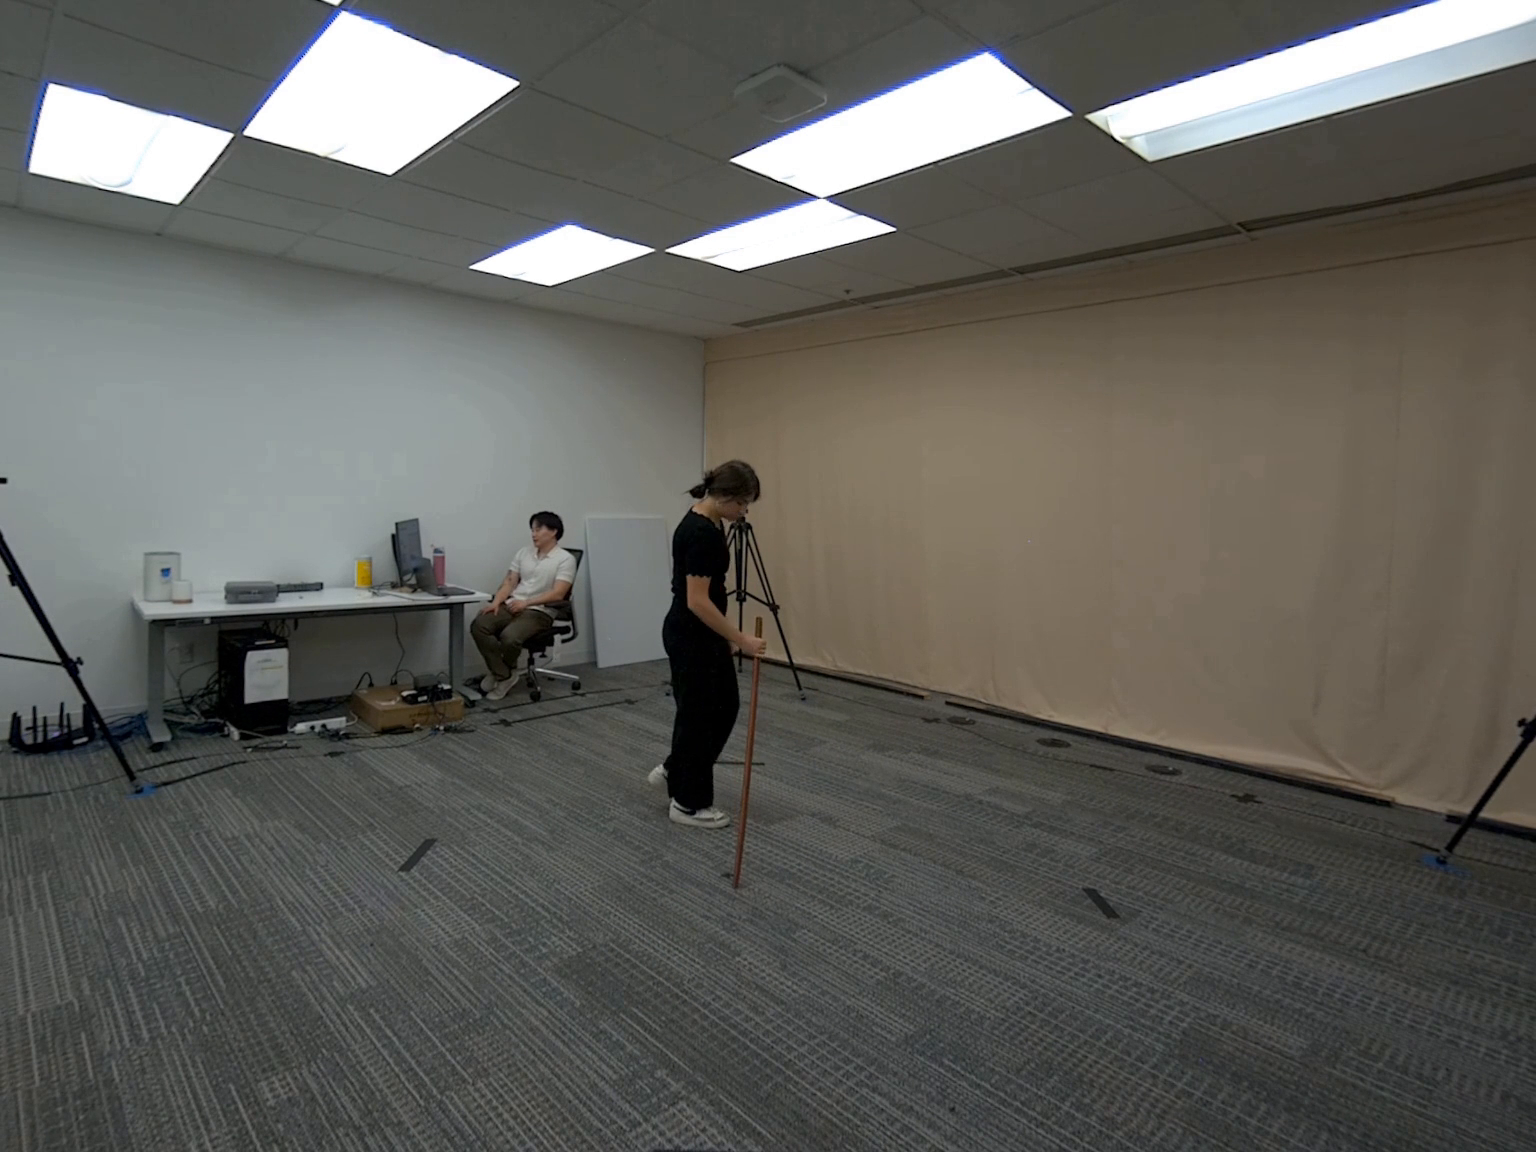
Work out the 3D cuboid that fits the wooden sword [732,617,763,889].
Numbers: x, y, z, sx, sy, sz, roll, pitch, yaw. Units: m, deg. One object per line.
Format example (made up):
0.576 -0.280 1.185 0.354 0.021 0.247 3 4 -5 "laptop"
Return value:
-0.082 0.661 3.231 0.052 1.040 0.023 -20 -36 41 "wooden sword"
